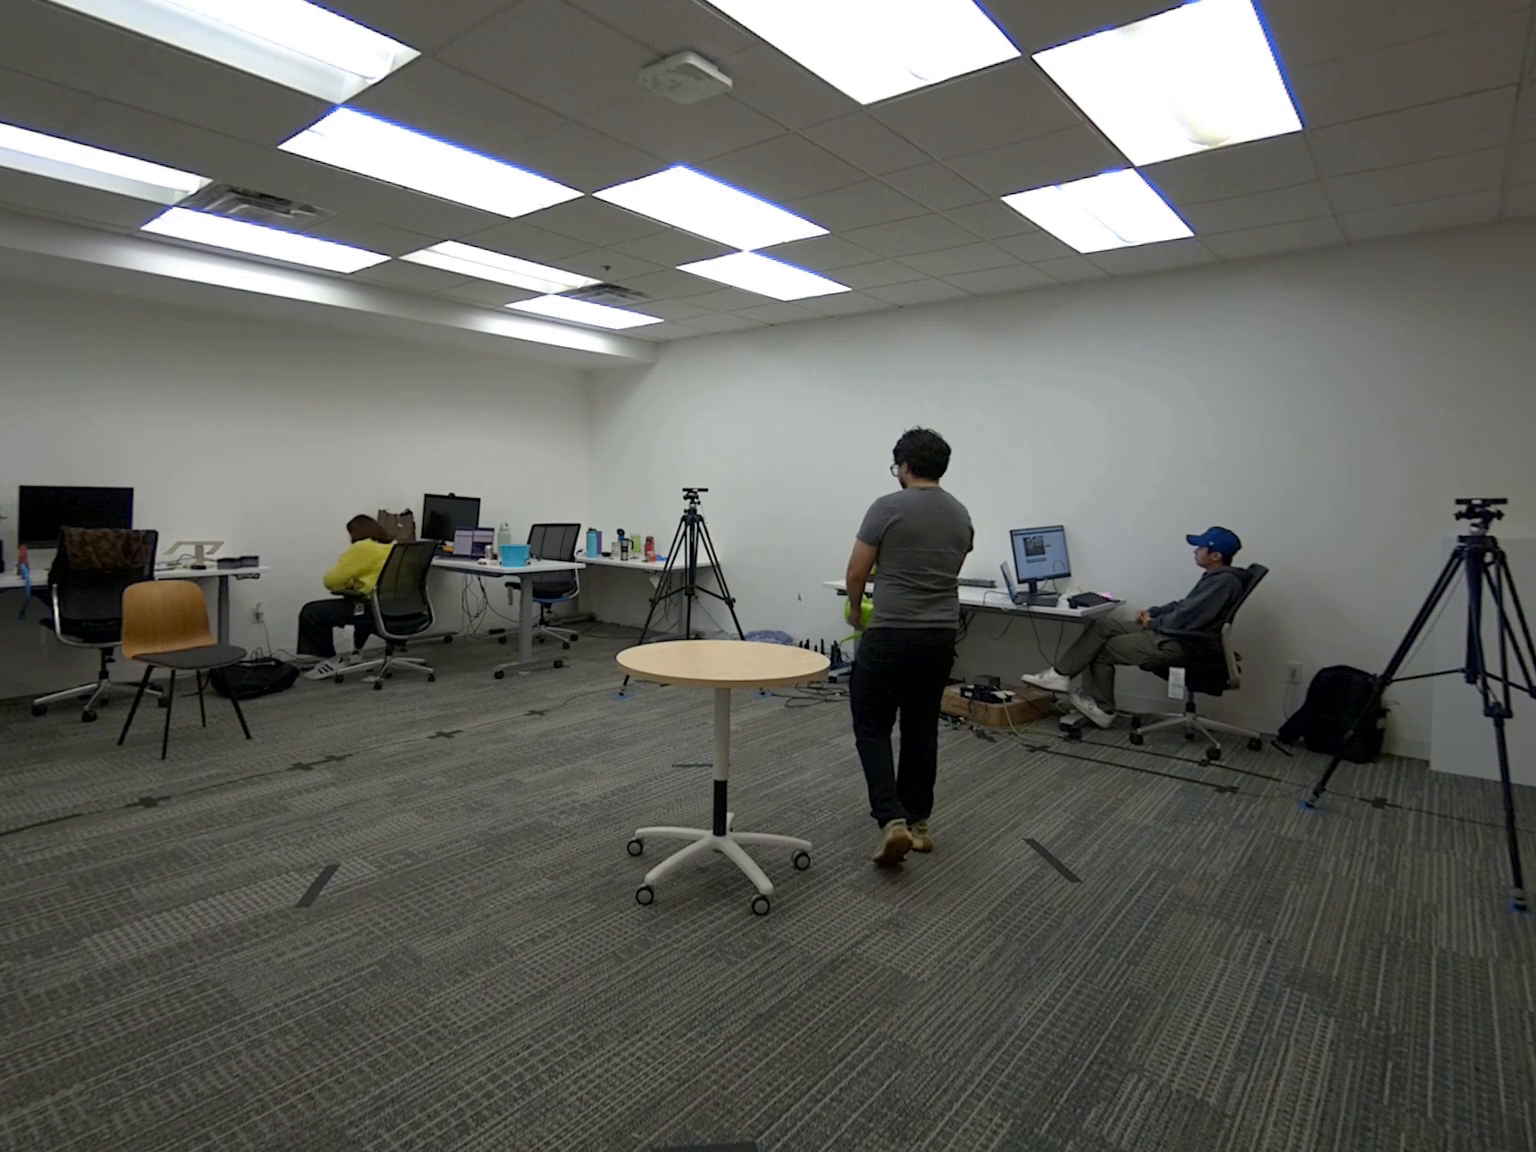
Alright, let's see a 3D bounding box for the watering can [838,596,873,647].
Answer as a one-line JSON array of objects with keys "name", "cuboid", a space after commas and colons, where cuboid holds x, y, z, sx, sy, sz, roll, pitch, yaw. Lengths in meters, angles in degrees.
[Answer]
[{"name": "watering can", "cuboid": [0.389, 0.198, 3.686, 0.096, 0.273, 0.184, -17, 25, -32]}]
